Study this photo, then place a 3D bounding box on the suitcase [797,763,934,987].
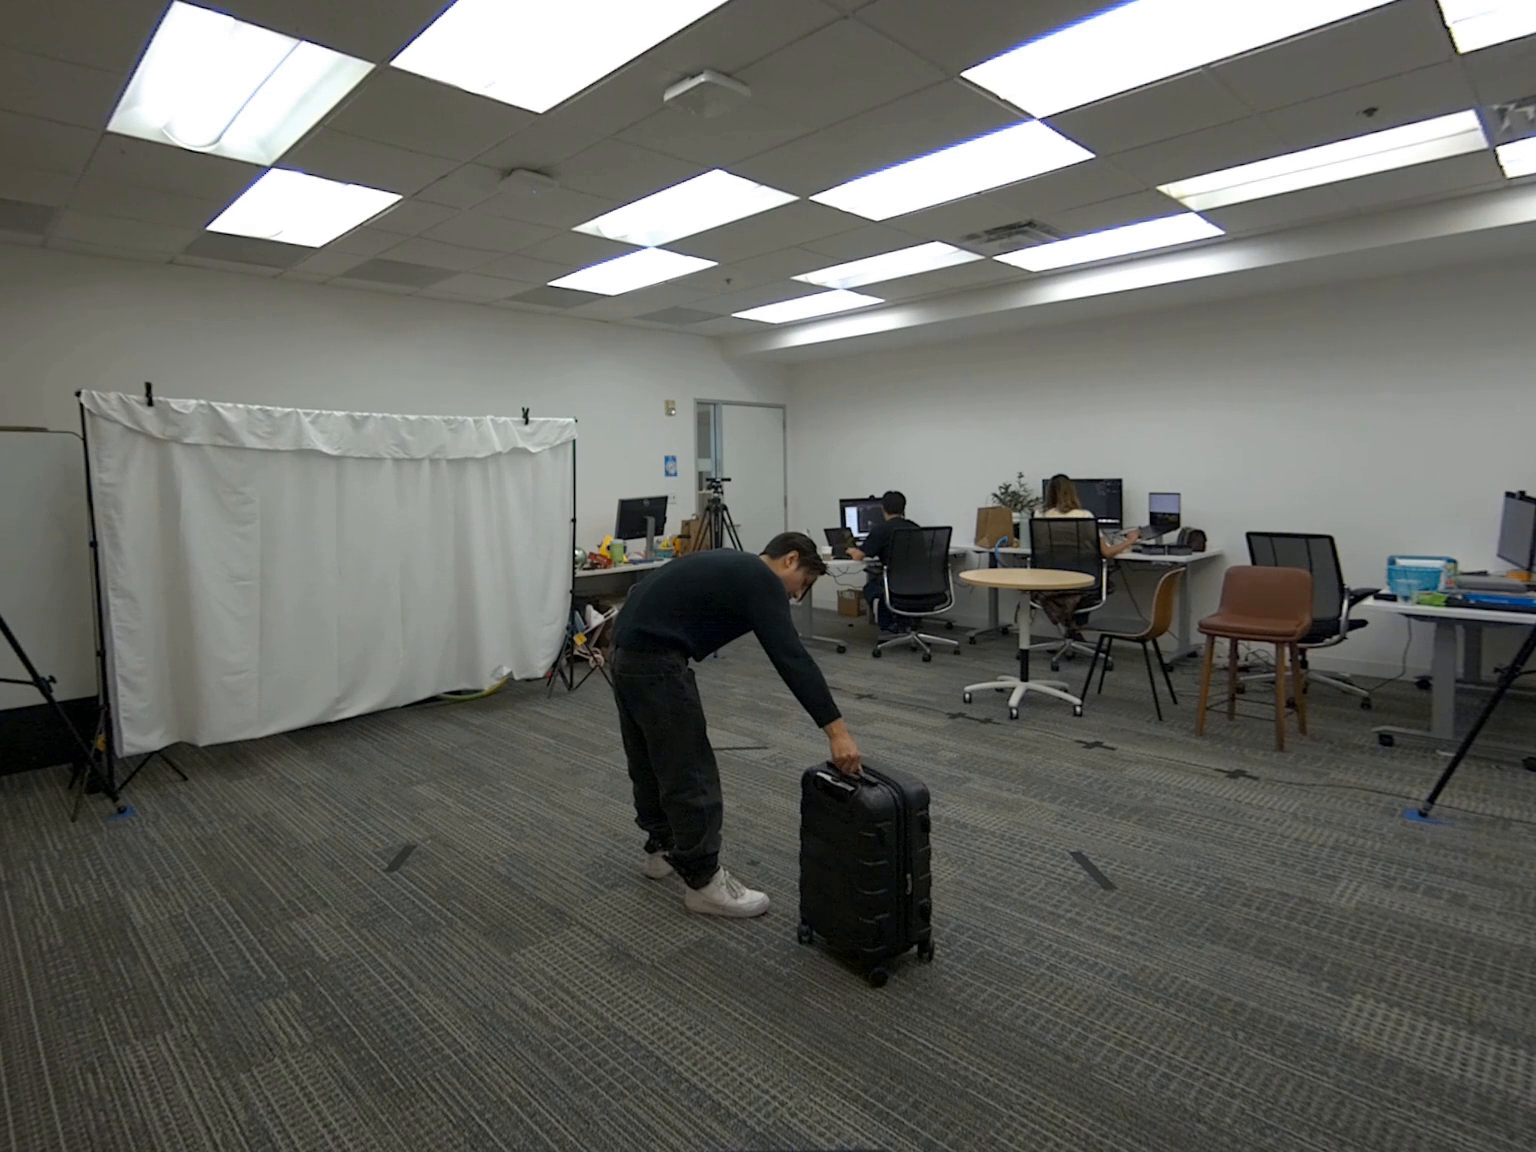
[{"bbox_3d":[0.287,0.830,2.510,0.242,0.548,0.386,-3,4,-33],"label":"suitcase"}]
